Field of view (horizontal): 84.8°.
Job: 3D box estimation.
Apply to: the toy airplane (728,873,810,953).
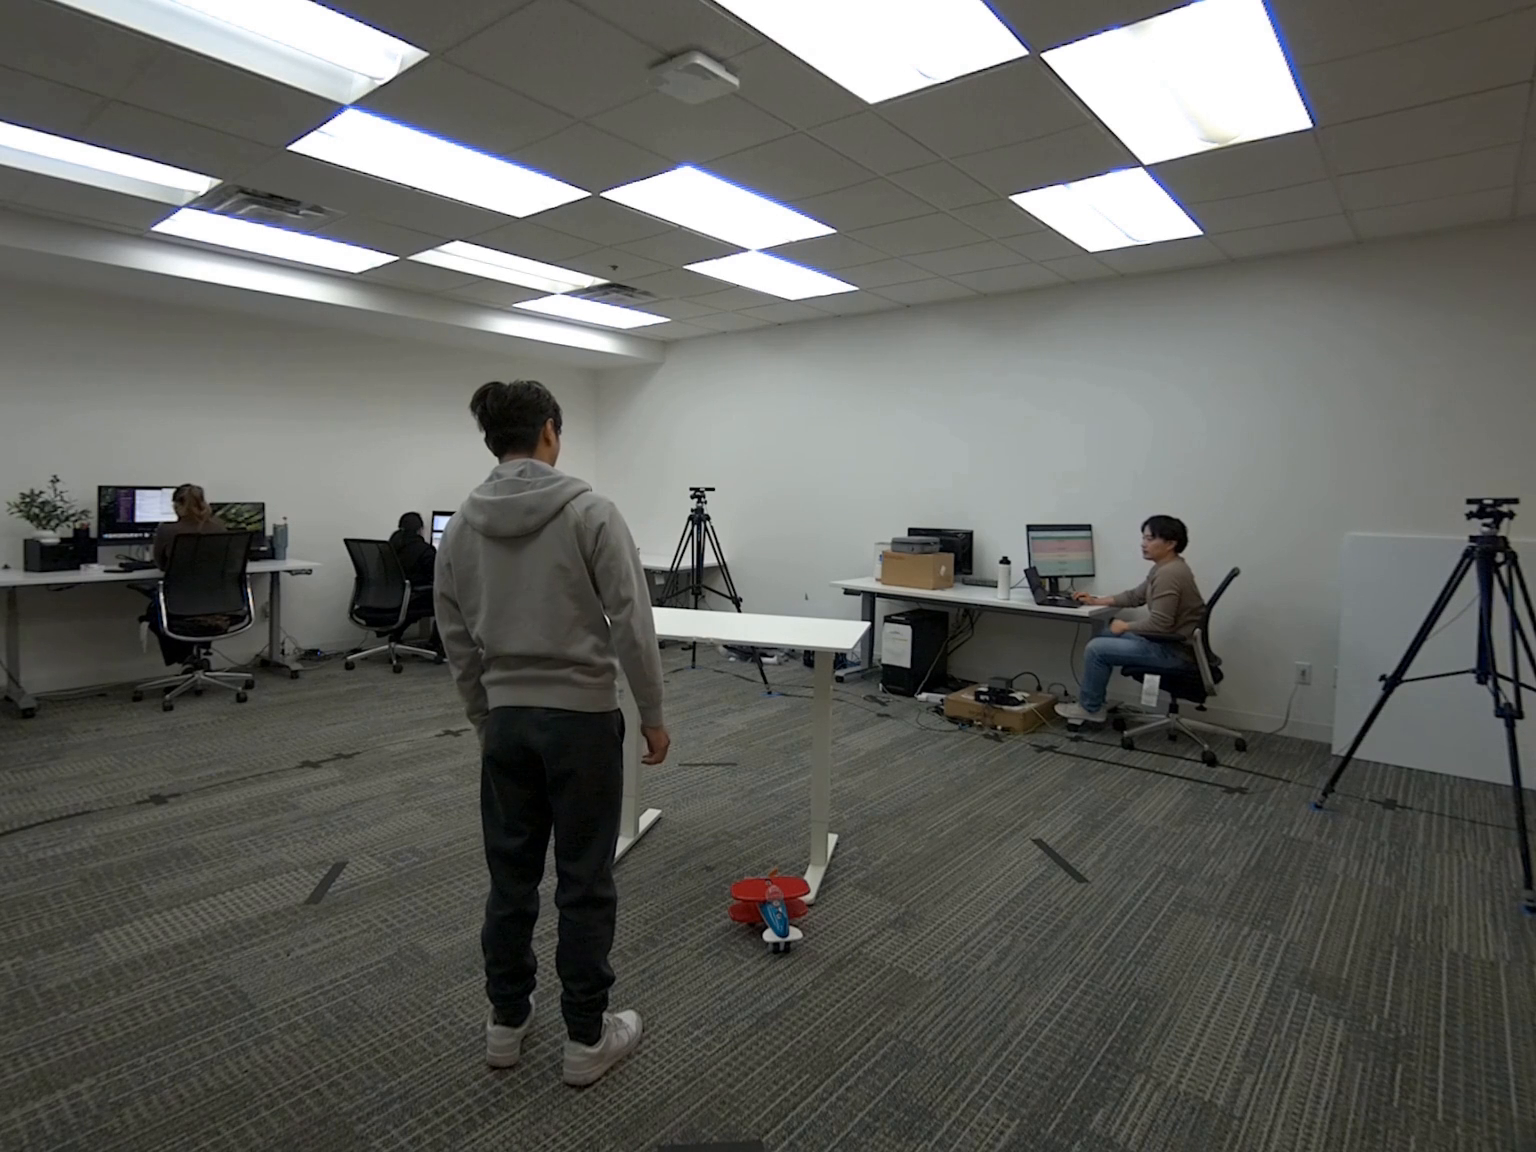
[{"bbox_3d":[0.023,1.040,2.647,0.243,0.156,0.268,-3,7,-42],"label":"toy airplane"}]
